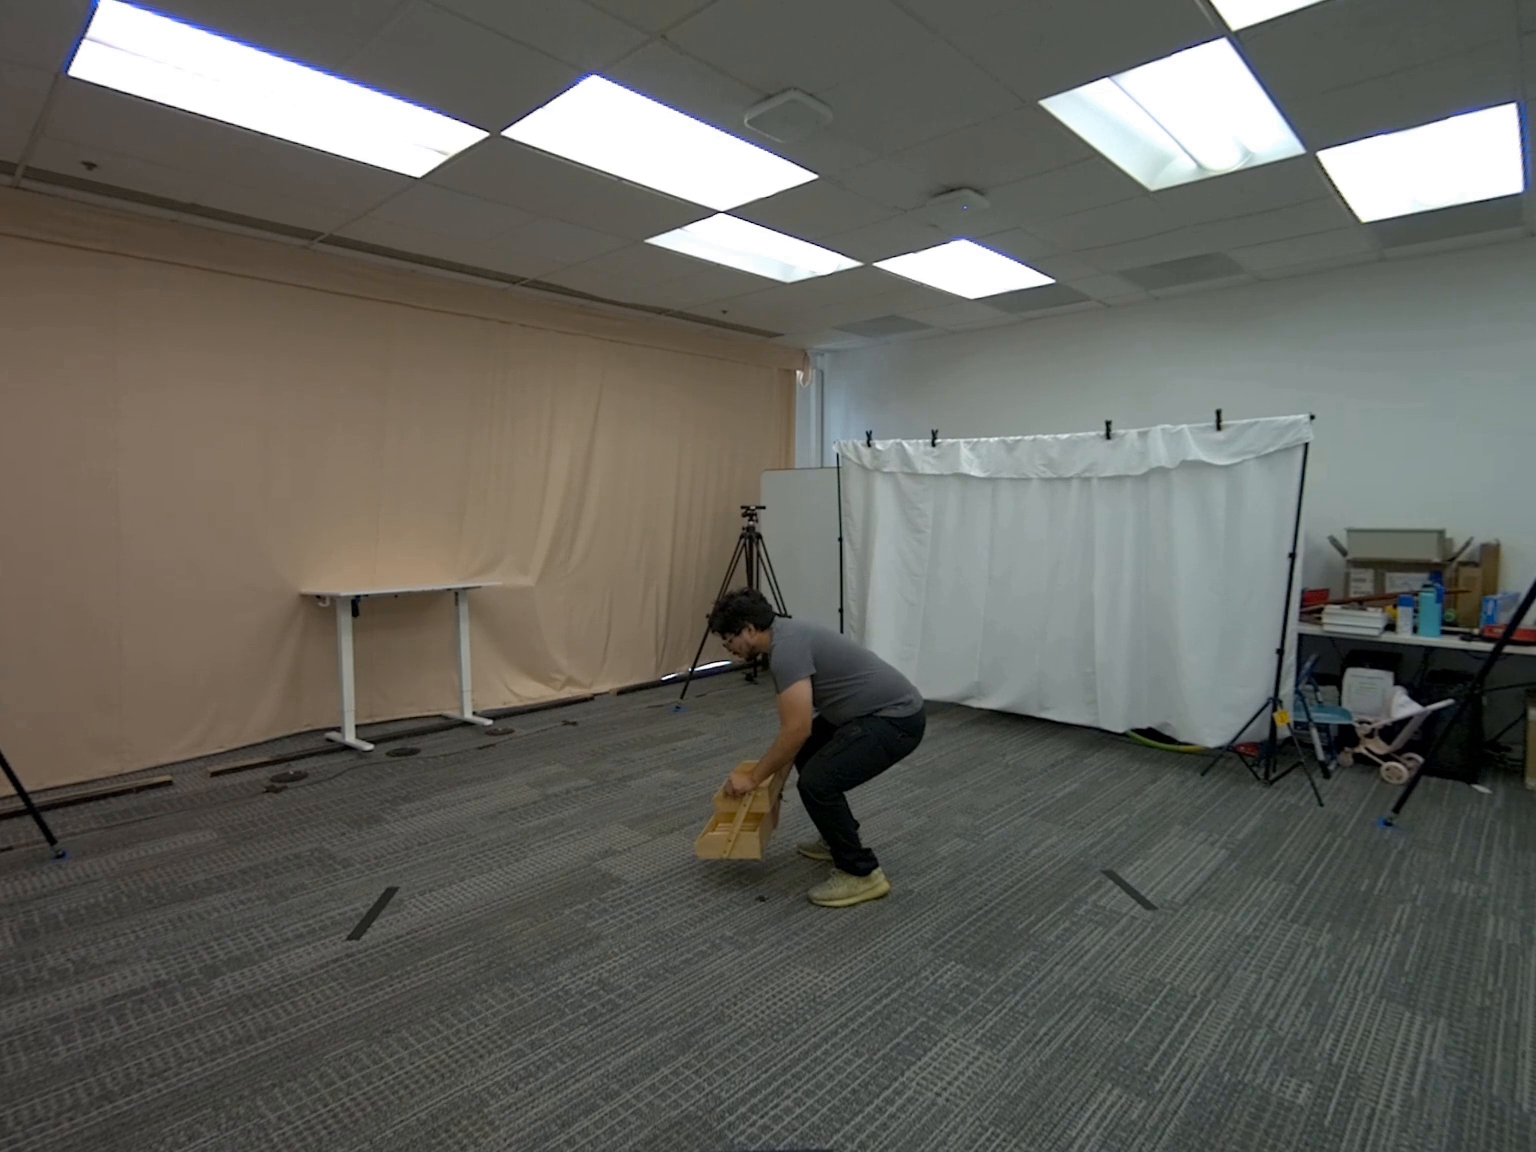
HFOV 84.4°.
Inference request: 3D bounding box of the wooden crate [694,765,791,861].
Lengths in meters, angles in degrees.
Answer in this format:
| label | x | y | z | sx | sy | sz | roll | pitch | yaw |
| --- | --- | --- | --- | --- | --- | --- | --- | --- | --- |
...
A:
| label | x | y | z | sx | sy | sz | roll | pitch | yaw |
| --- | --- | --- | --- | --- | --- | --- | --- | --- | --- |
| wooden crate | -0.129 | 0.884 | 3.173 | 0.306 | 0.273 | 0.321 | -2 | 4 | 12 |
